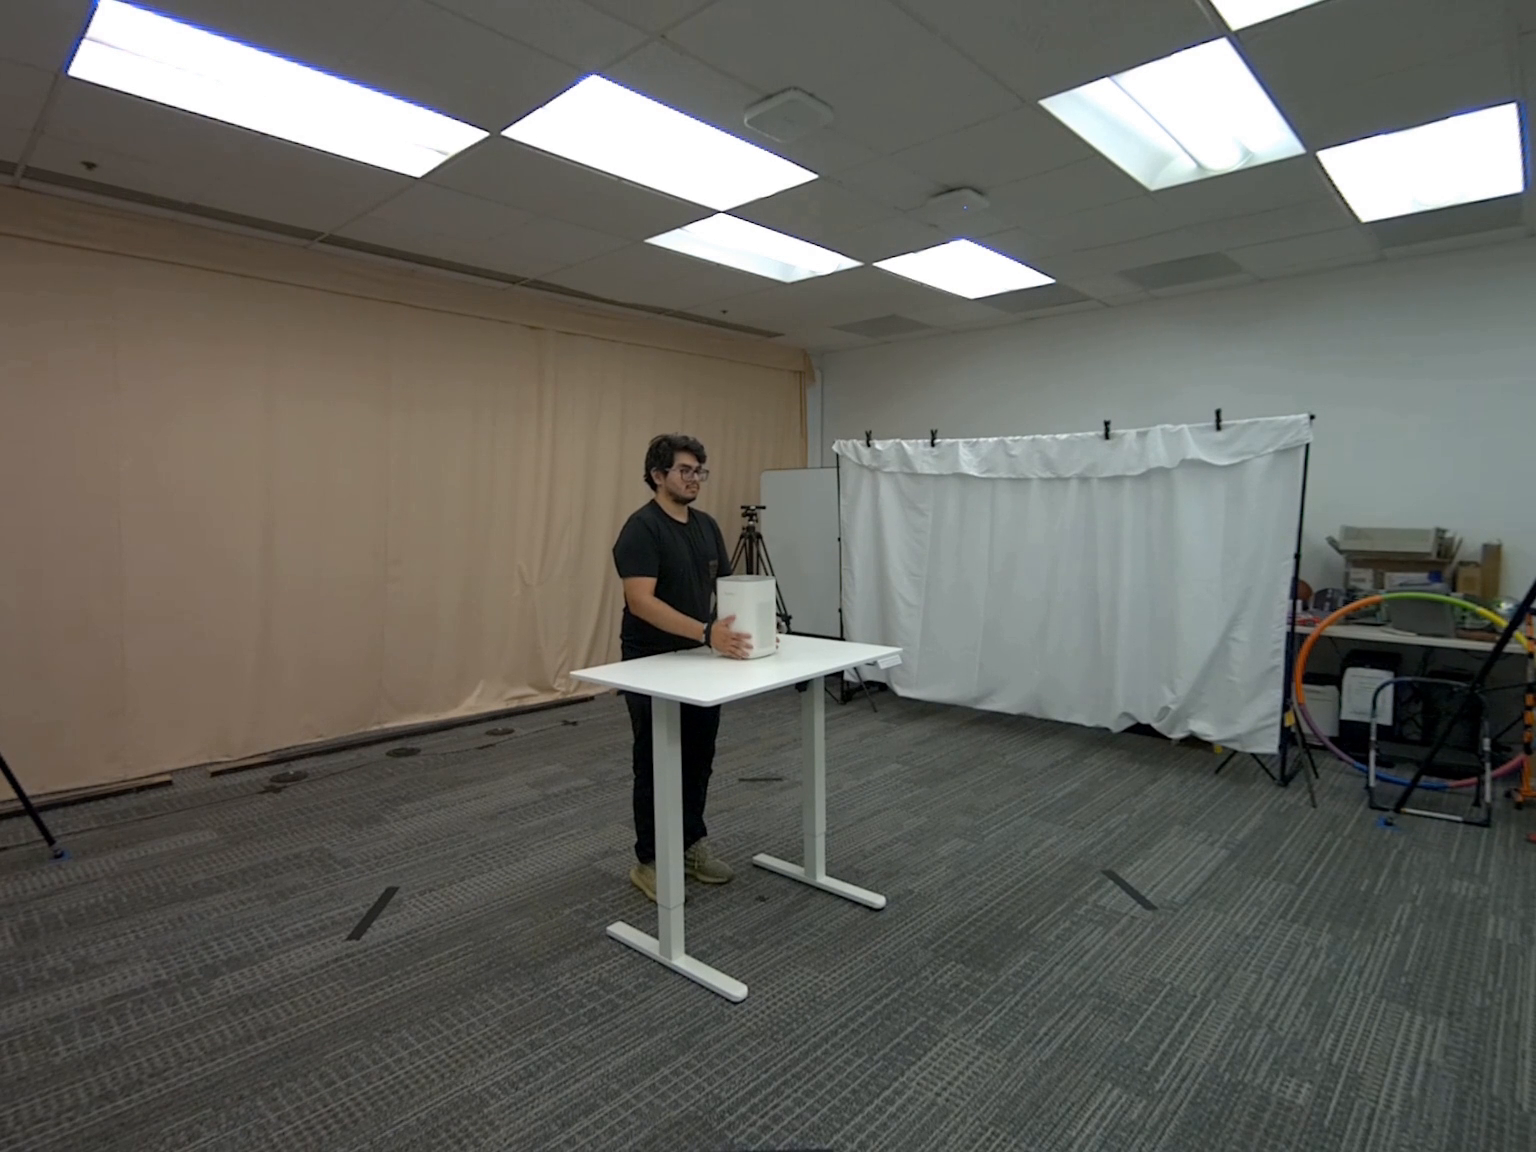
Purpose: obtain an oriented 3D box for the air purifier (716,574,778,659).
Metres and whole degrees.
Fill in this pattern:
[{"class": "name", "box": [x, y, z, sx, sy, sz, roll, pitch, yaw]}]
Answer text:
[{"class": "air purifier", "box": [-0.064, 0.130, 2.851, 0.176, 0.265, 0.166, 2, 4, 39]}]
